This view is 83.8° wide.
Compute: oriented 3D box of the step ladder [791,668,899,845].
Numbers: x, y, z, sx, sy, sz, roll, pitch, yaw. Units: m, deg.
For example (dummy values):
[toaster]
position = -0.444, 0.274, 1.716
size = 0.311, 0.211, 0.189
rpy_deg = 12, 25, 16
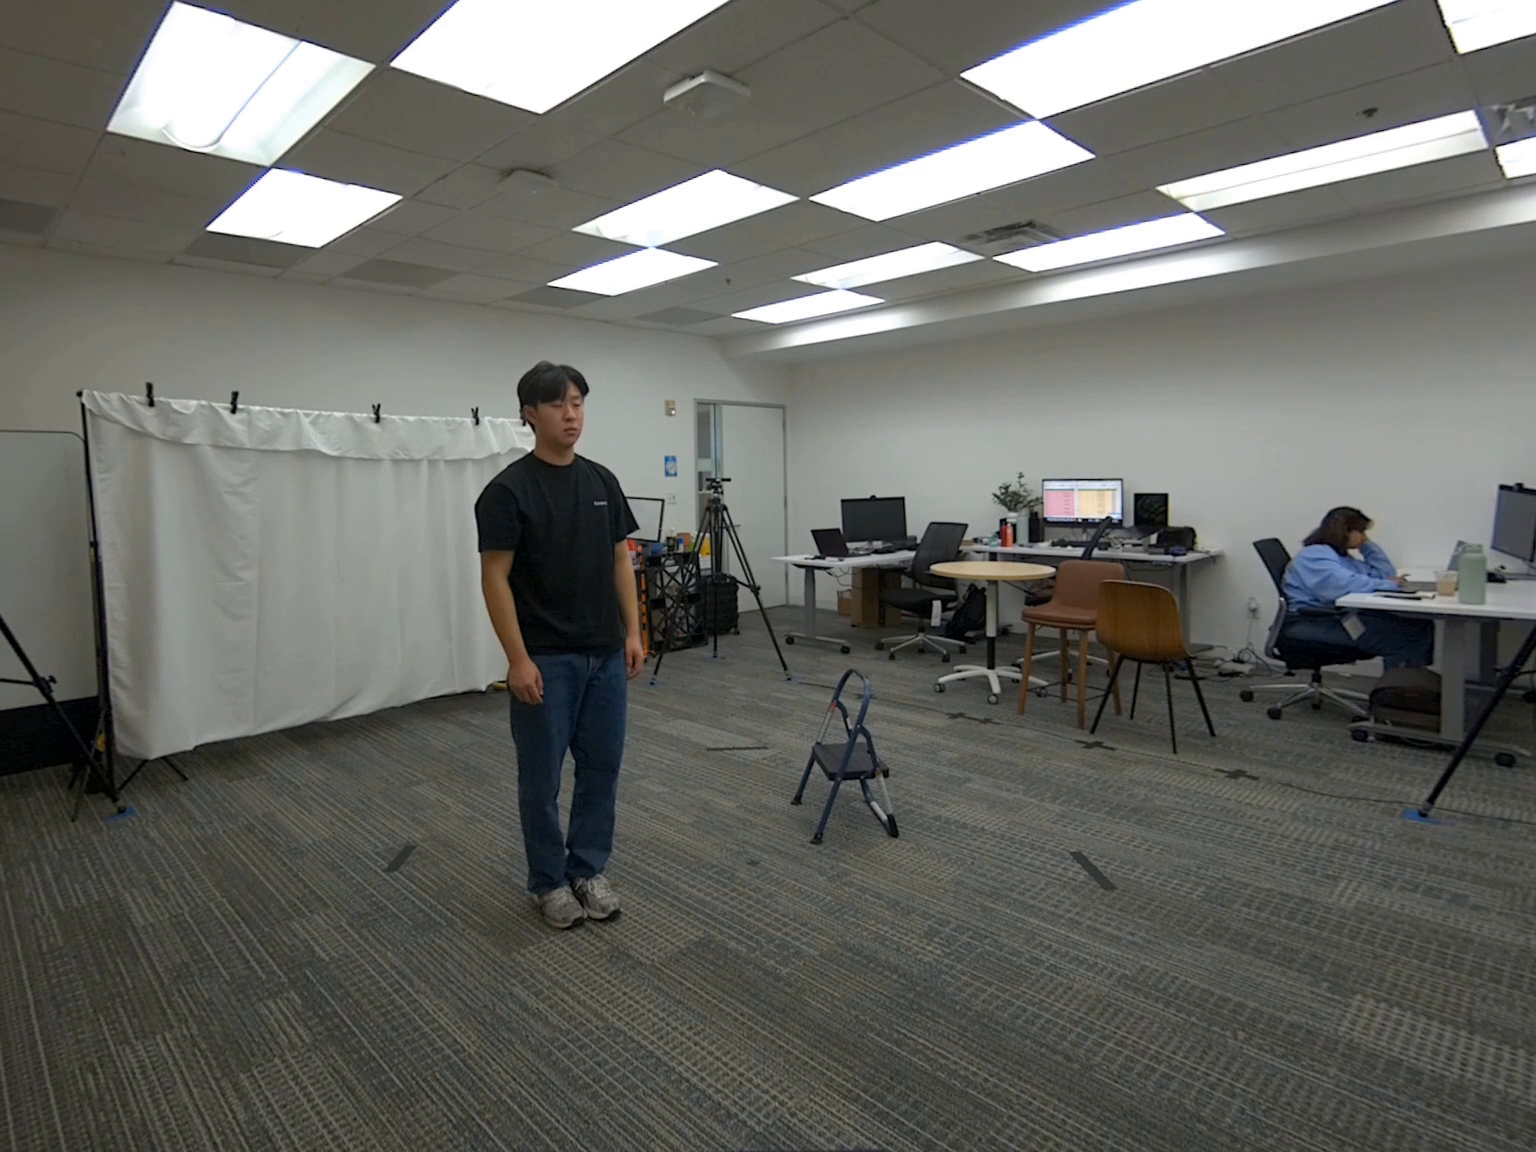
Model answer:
[step ladder]
position = 0.293, 0.692, 3.461
size = 0.347, 0.604, 0.436
rpy_deg = -2, 5, -9
